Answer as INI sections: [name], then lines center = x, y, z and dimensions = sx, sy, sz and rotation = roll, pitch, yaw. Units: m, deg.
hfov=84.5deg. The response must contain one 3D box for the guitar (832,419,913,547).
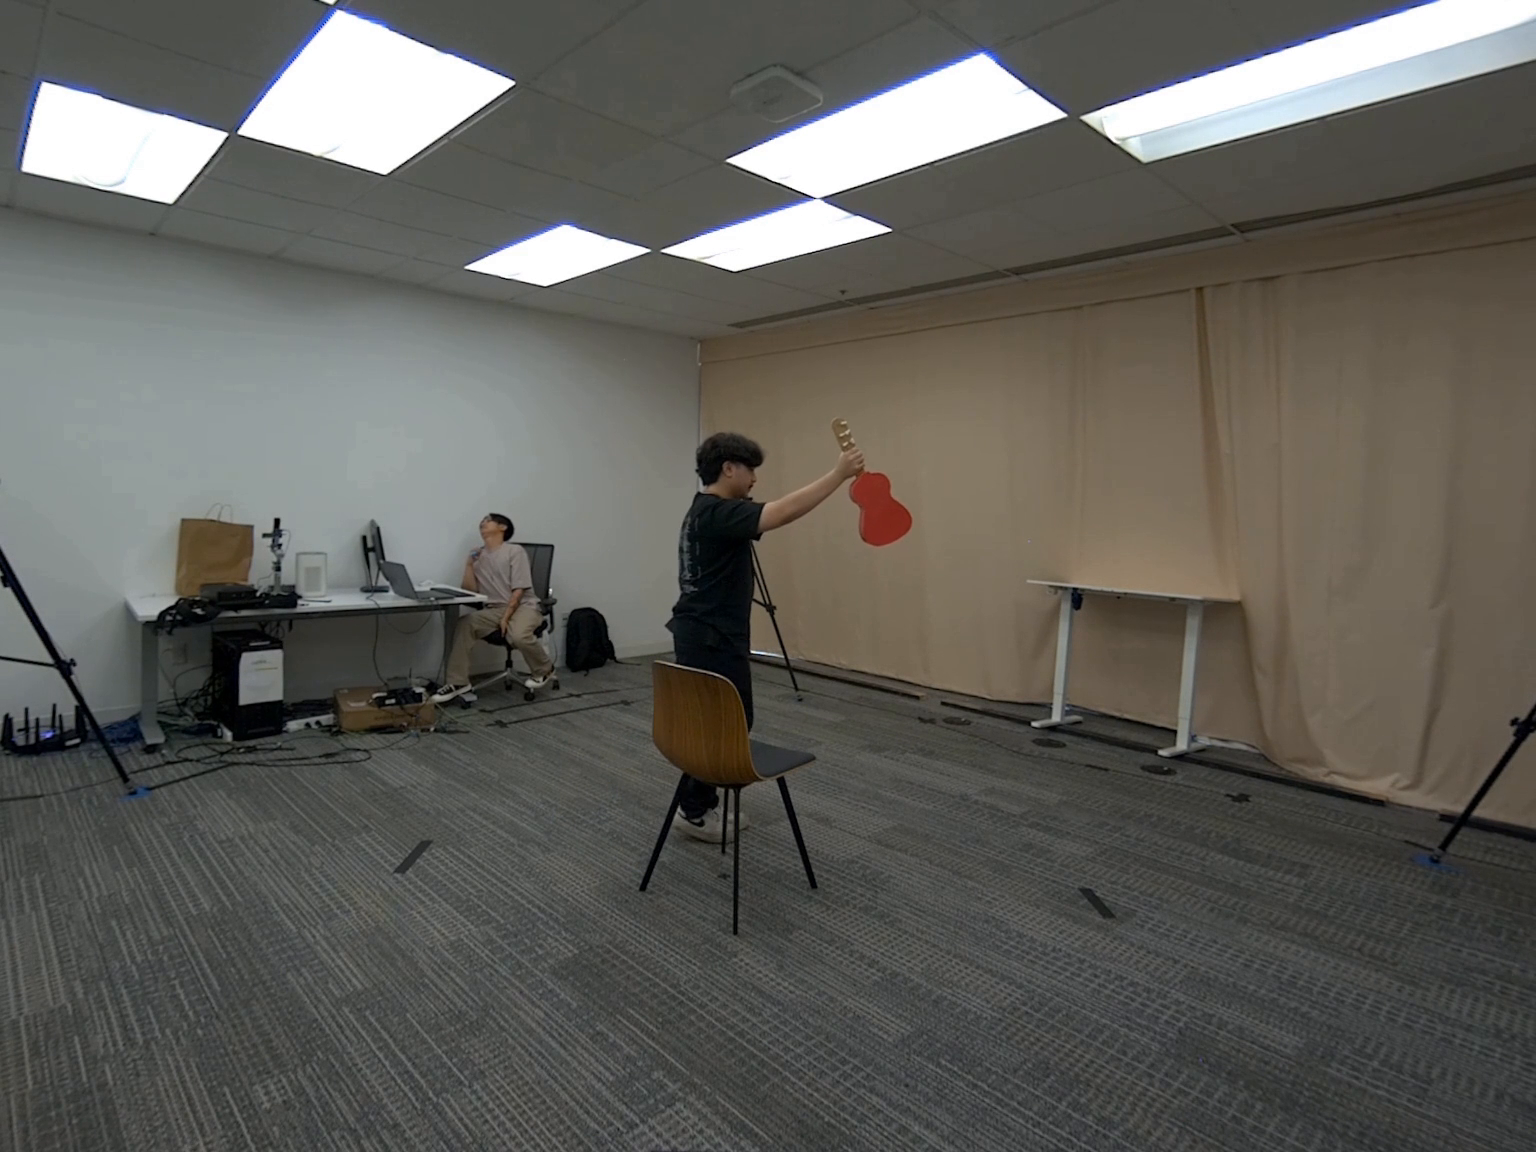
[guitar]
center = 0.334, -0.339, 3.130
dimensions = 0.193, 0.495, 0.071
rotation = -33, 6, -1
